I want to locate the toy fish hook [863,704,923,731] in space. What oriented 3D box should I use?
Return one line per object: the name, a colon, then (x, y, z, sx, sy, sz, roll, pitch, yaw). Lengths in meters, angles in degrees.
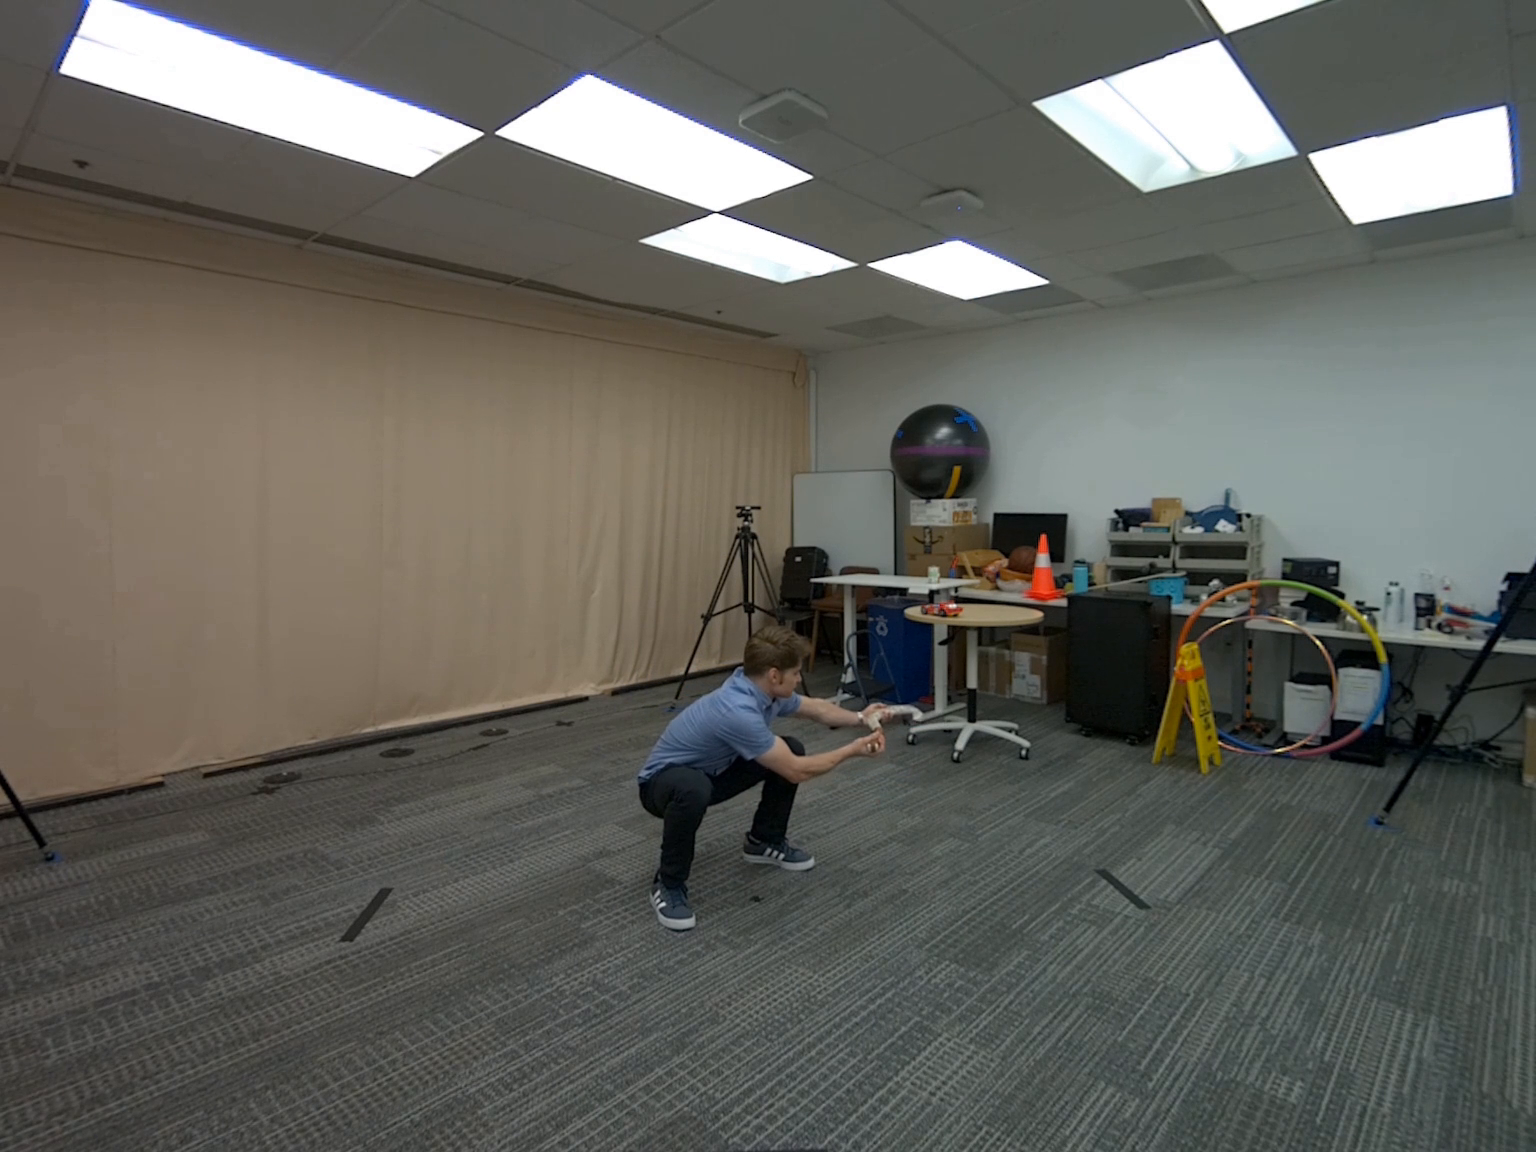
toy fish hook: (0.485, 0.593, 3.297, 0.228, 0.048, 0.502, -13, 7, 14)
